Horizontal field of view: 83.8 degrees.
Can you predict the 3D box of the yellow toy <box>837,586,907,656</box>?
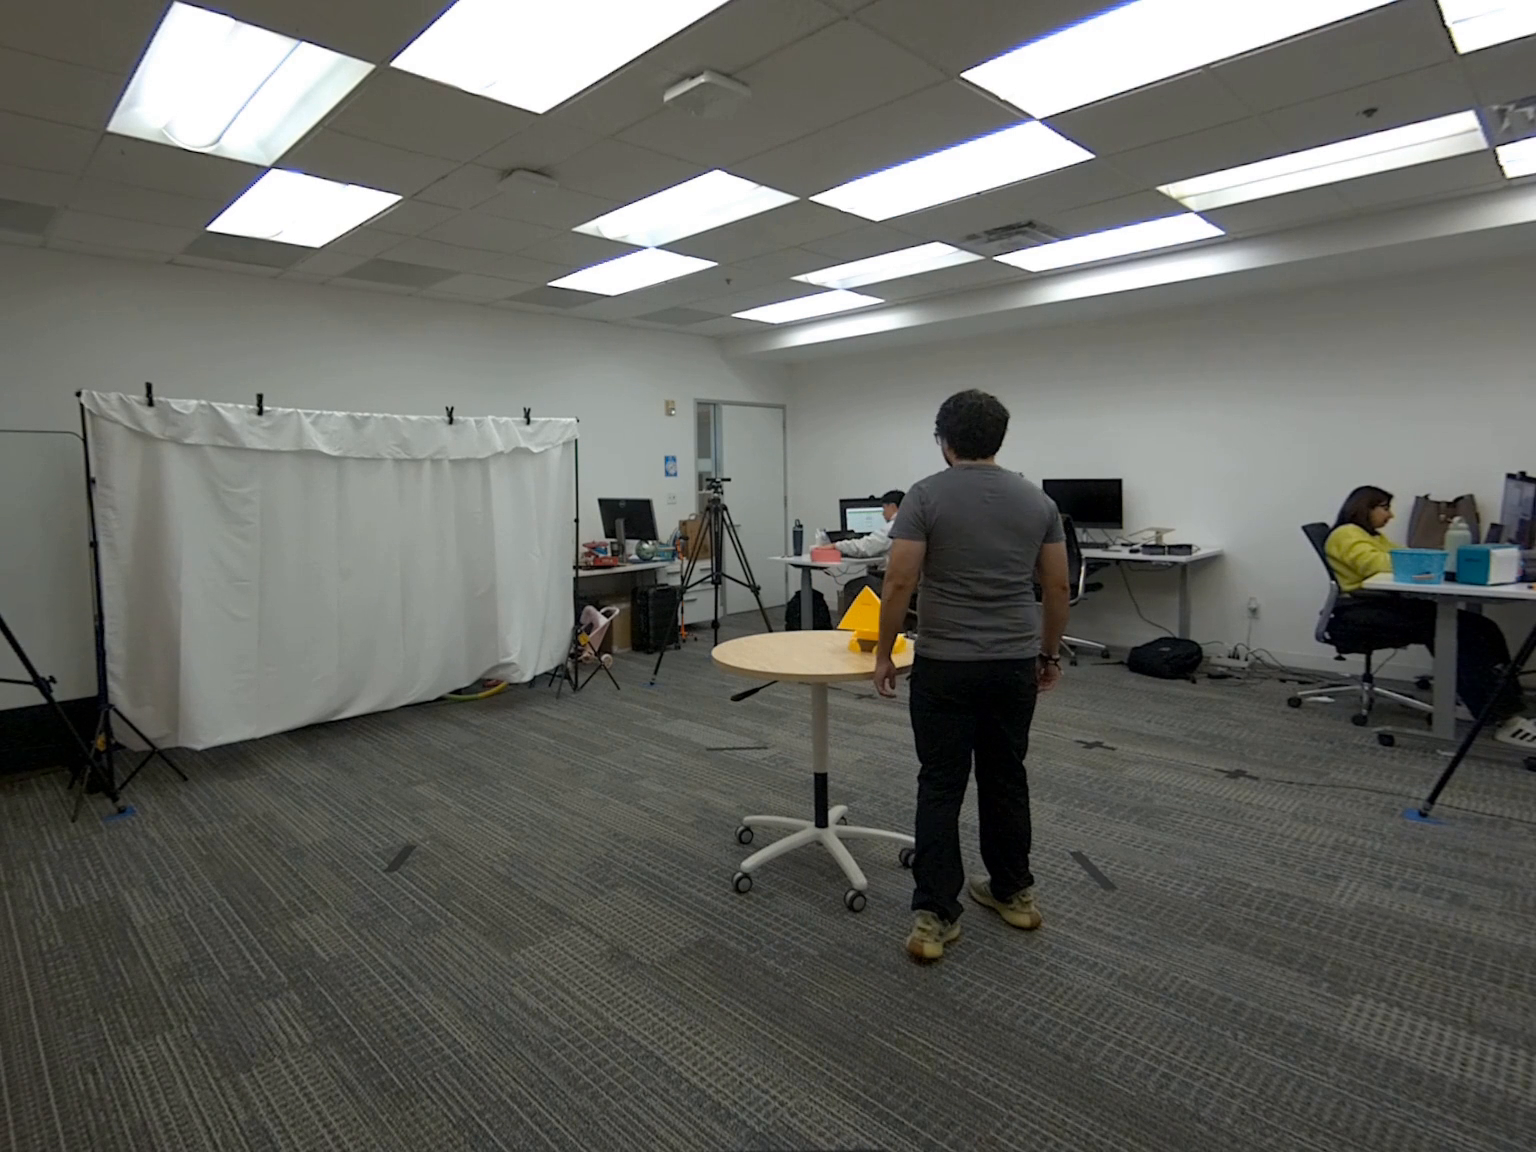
[{"bbox_3d":[0.380,0.145,3.026,0.211,0.230,0.188,2,5,37],"label":"yellow toy"}]
